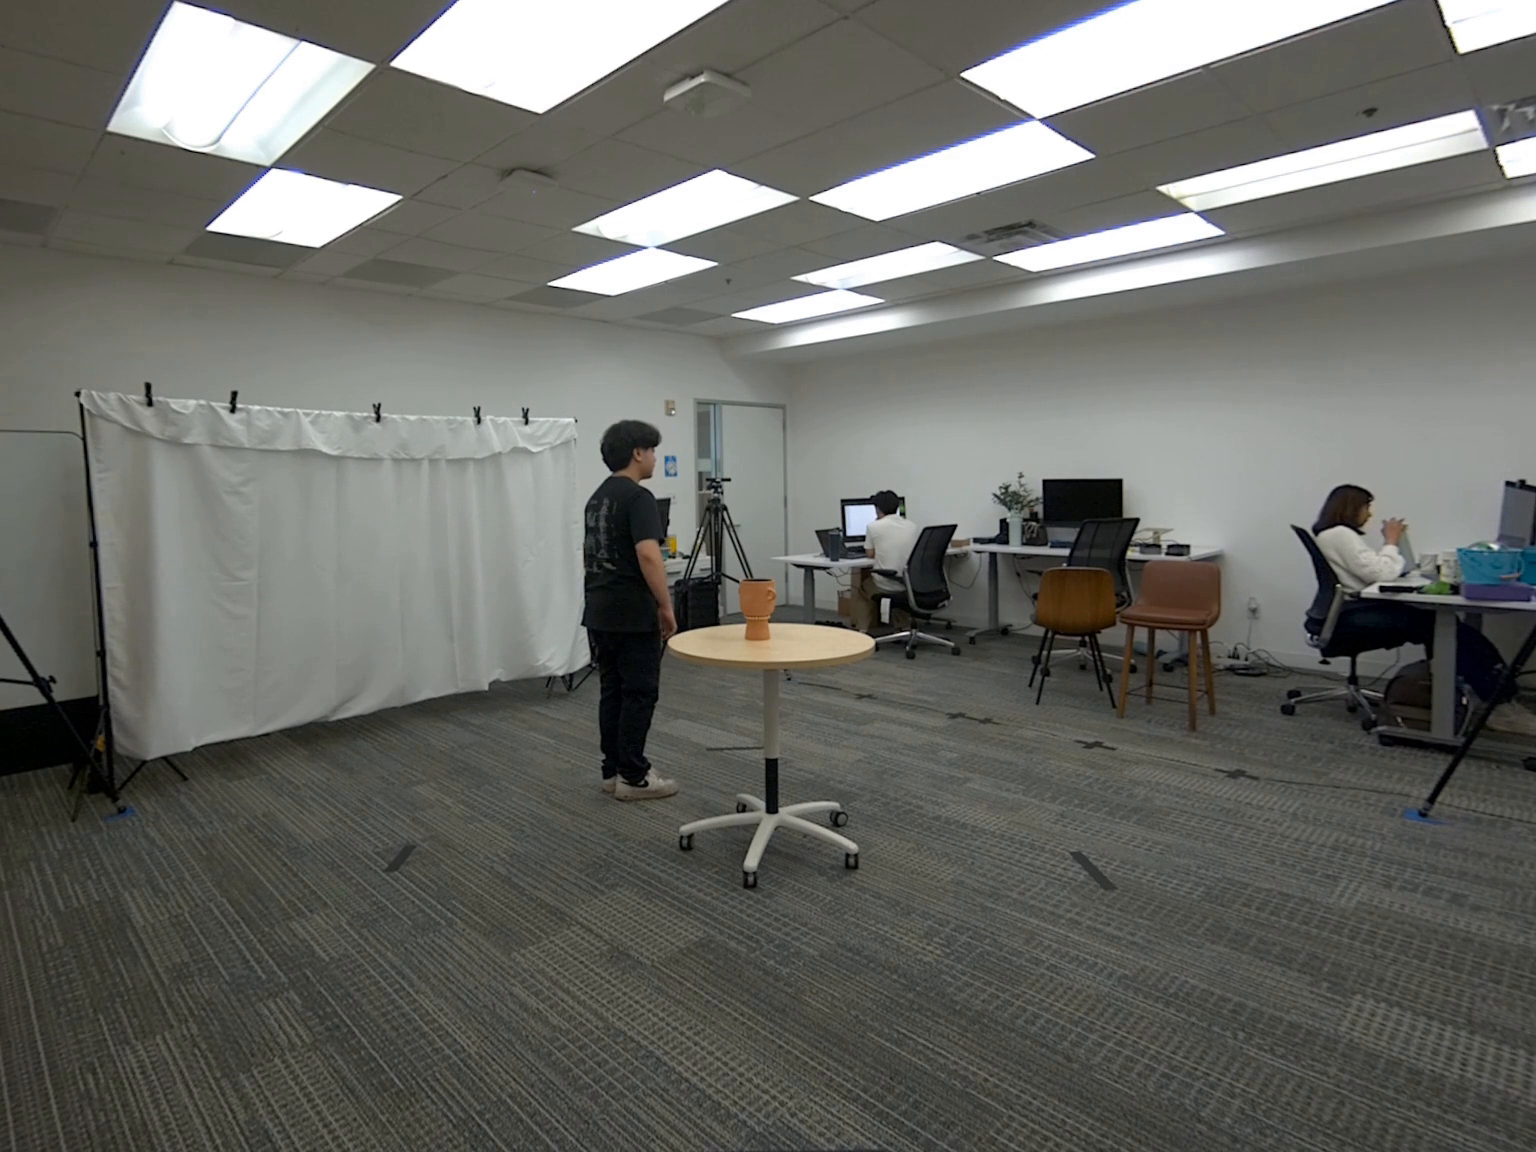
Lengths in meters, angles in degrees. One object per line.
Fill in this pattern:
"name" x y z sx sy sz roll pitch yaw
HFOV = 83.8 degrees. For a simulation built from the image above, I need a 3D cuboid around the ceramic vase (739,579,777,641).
"ceramic vase" -0.042 0.126 3.224 0.134 0.219 0.160 -1 3 -4
